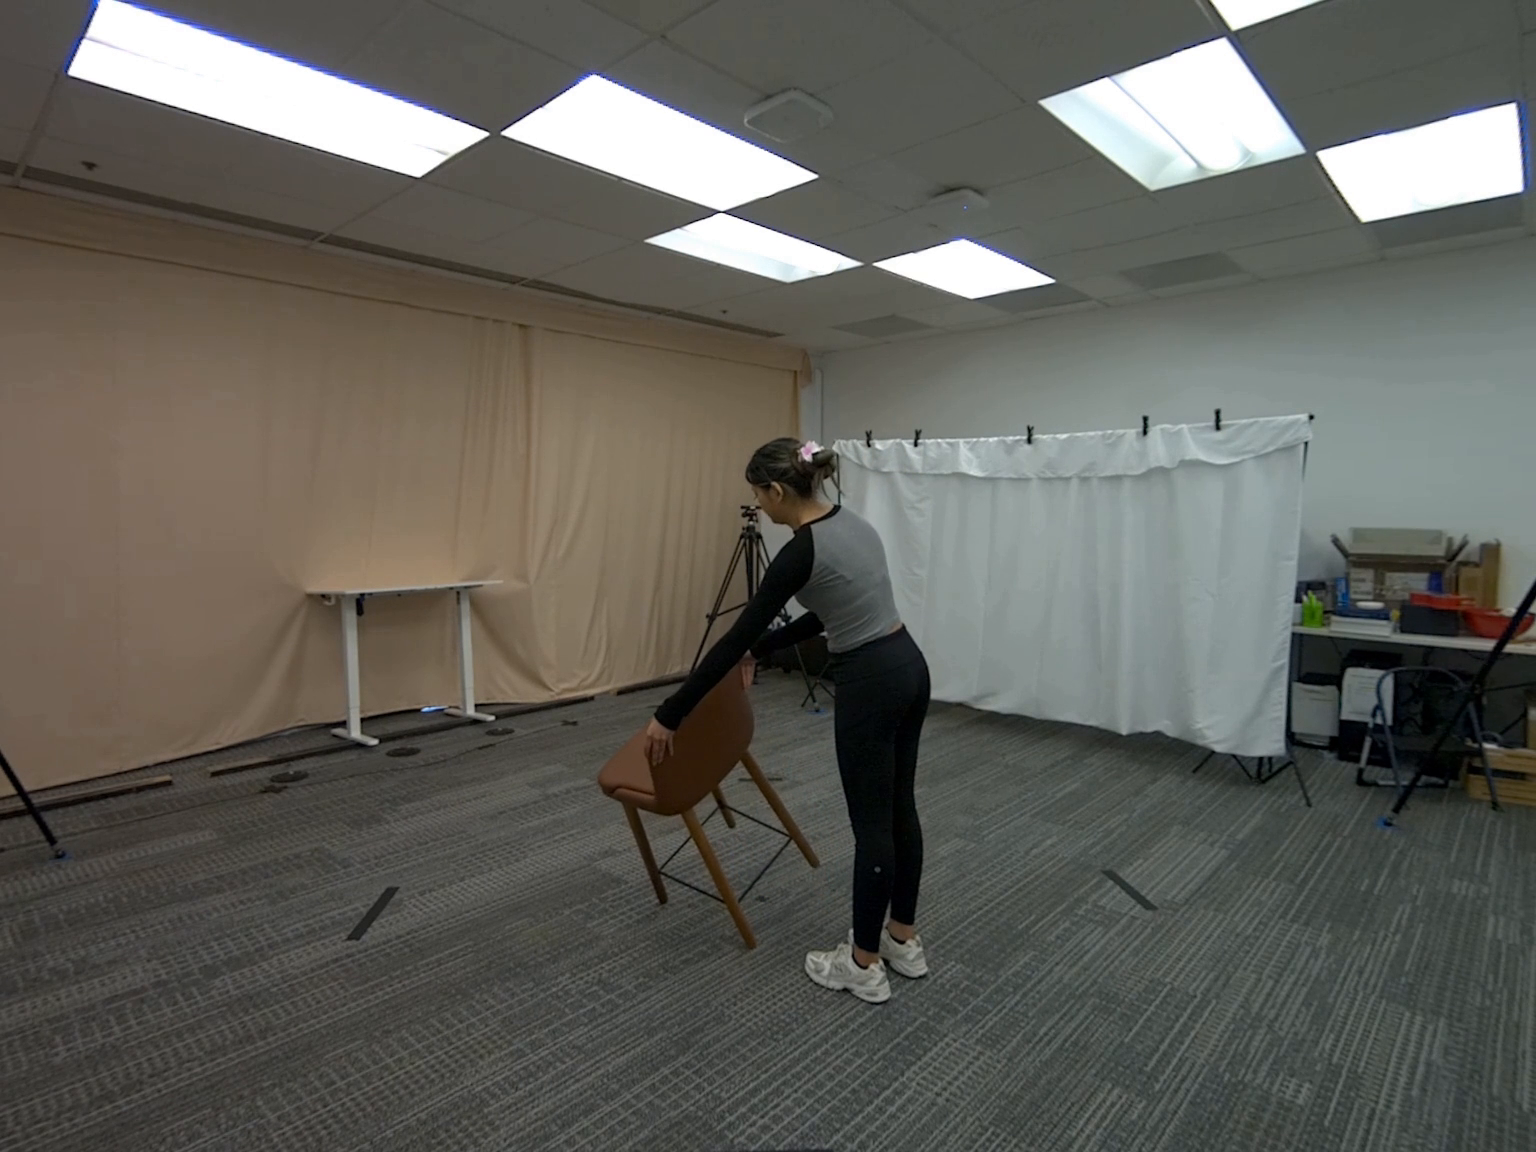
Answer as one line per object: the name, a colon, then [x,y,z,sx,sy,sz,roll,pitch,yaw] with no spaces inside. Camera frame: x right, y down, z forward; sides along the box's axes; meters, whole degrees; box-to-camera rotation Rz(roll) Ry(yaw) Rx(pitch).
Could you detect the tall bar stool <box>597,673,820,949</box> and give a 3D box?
tall bar stool: [-0.229,0.692,2.741,0.484,0.871,0.450,8,35,44]
